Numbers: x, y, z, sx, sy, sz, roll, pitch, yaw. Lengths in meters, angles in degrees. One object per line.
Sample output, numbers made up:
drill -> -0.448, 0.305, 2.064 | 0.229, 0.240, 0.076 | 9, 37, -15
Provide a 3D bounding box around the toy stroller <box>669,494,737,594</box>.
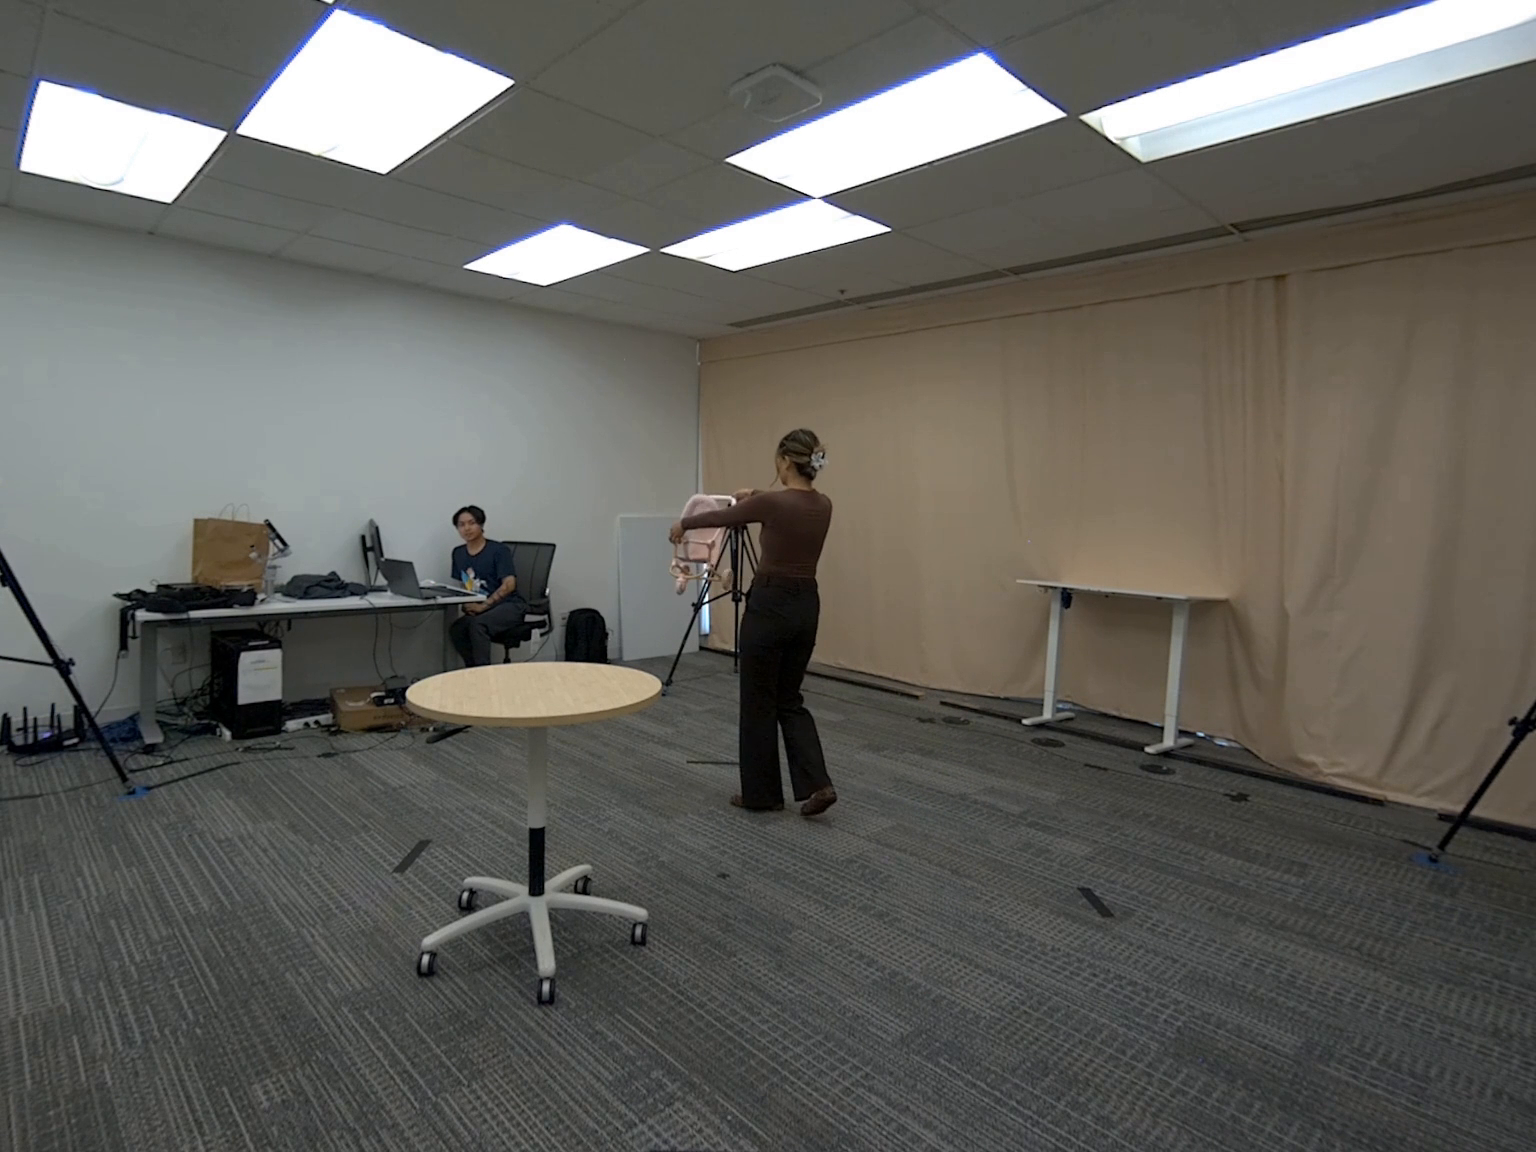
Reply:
toy stroller -> -0.351, -0.163, 4.160 | 0.287, 0.537, 0.333 | 6, -6, 27
